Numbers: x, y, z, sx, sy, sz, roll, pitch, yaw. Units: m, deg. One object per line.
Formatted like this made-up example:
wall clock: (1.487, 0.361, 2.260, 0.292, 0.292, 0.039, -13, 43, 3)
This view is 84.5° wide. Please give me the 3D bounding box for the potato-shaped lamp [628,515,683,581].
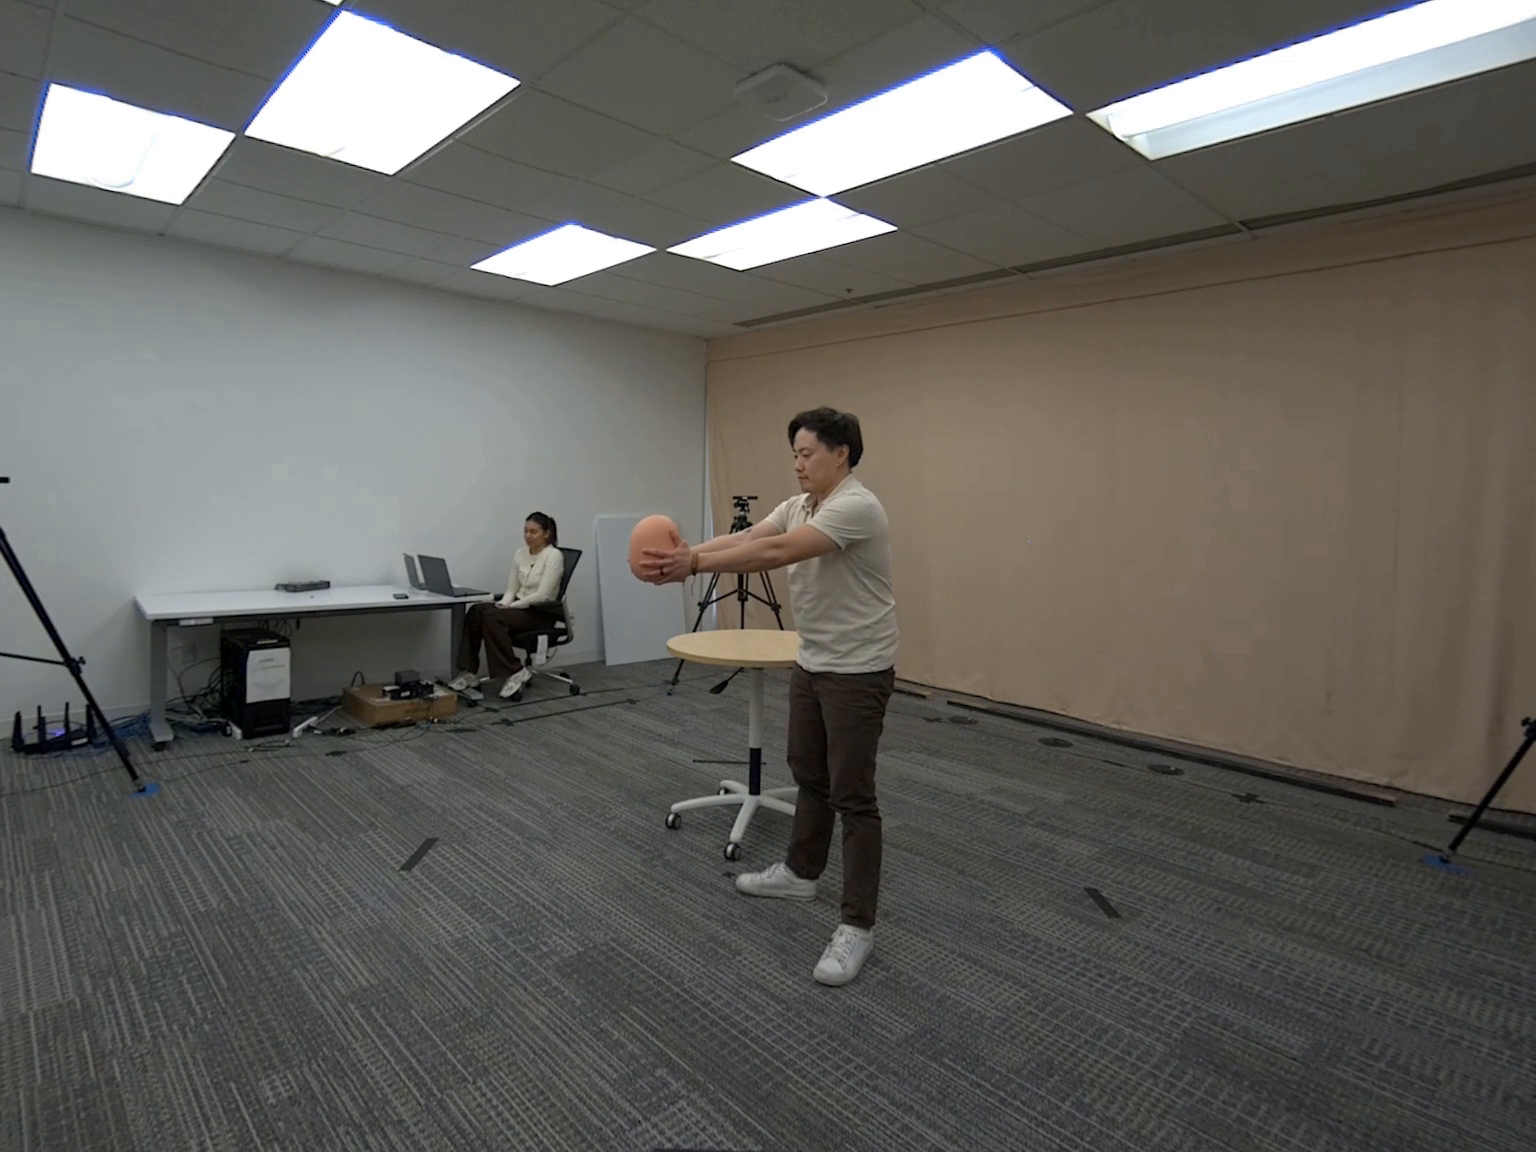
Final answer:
potato-shaped lamp: (-0.323, -0.073, 2.469, 0.169, 0.197, 0.167, -4, 4, -15)
